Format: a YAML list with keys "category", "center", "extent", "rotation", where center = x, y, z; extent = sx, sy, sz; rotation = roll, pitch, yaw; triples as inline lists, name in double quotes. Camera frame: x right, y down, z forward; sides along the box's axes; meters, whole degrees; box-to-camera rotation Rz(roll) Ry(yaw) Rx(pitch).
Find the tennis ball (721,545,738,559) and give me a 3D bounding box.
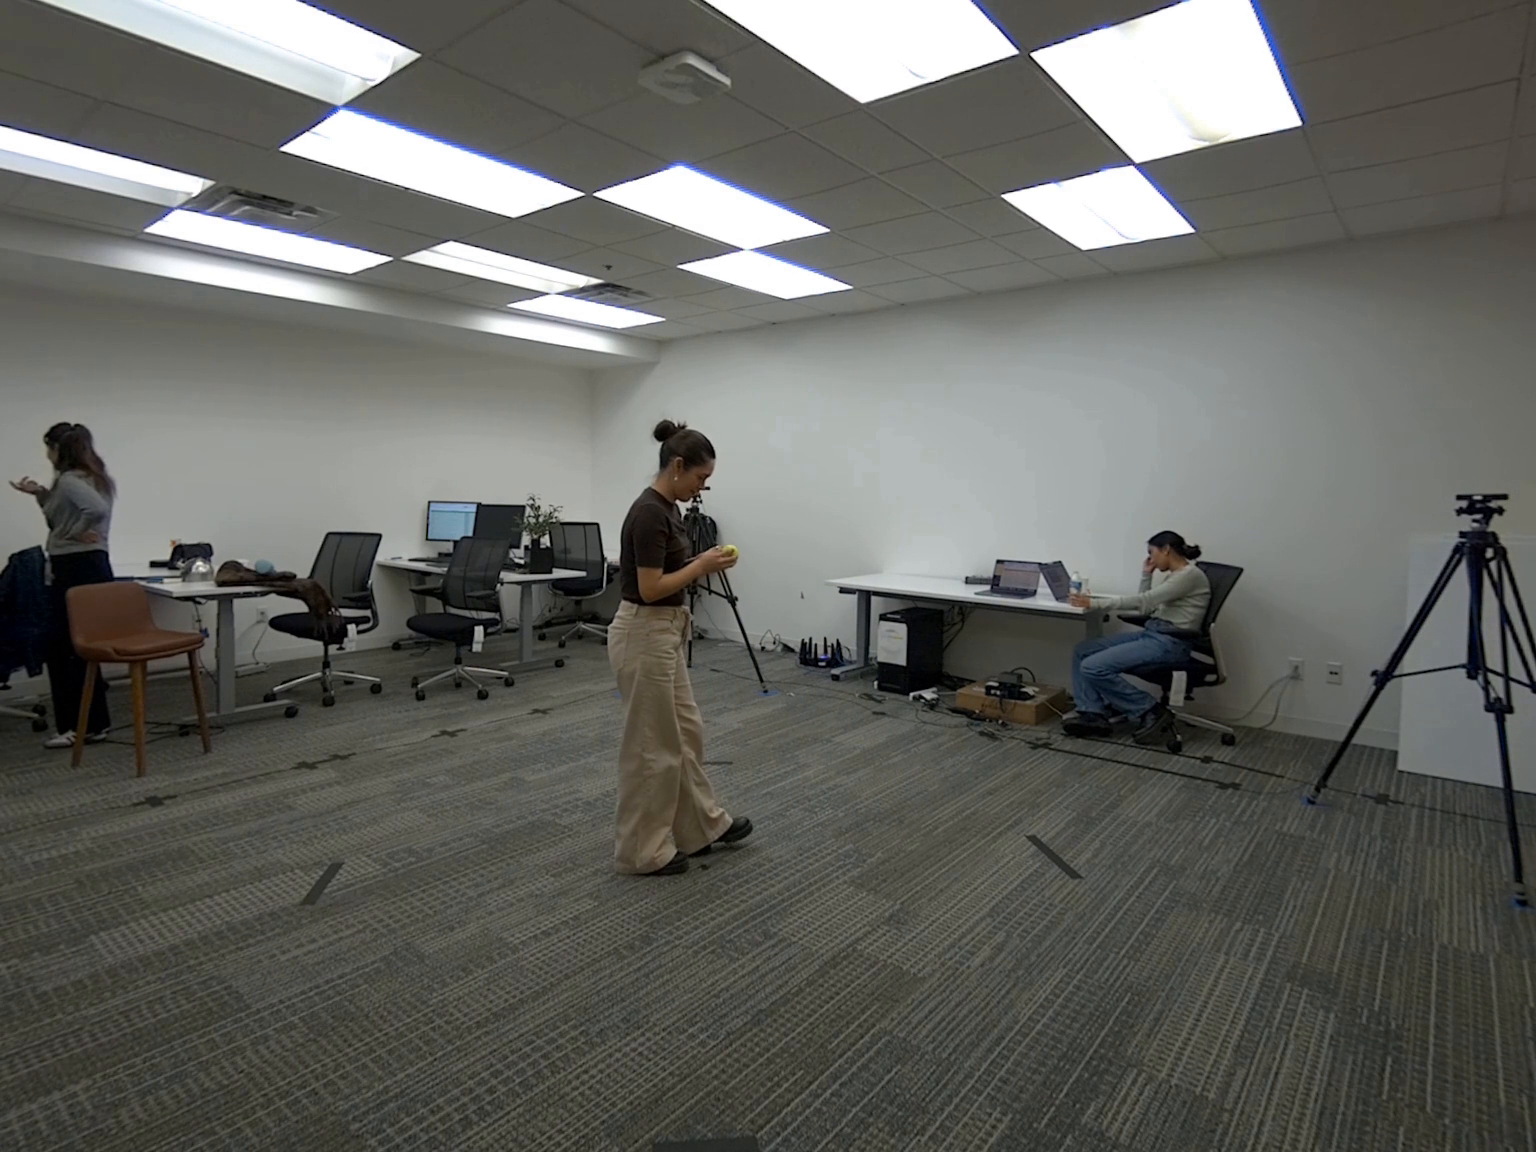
- category: "tennis ball"
  center: [-0.141, -0.087, 3.068]
  extent: [0.066, 0.066, 0.067]
  rotation: [1, 4, -2]
